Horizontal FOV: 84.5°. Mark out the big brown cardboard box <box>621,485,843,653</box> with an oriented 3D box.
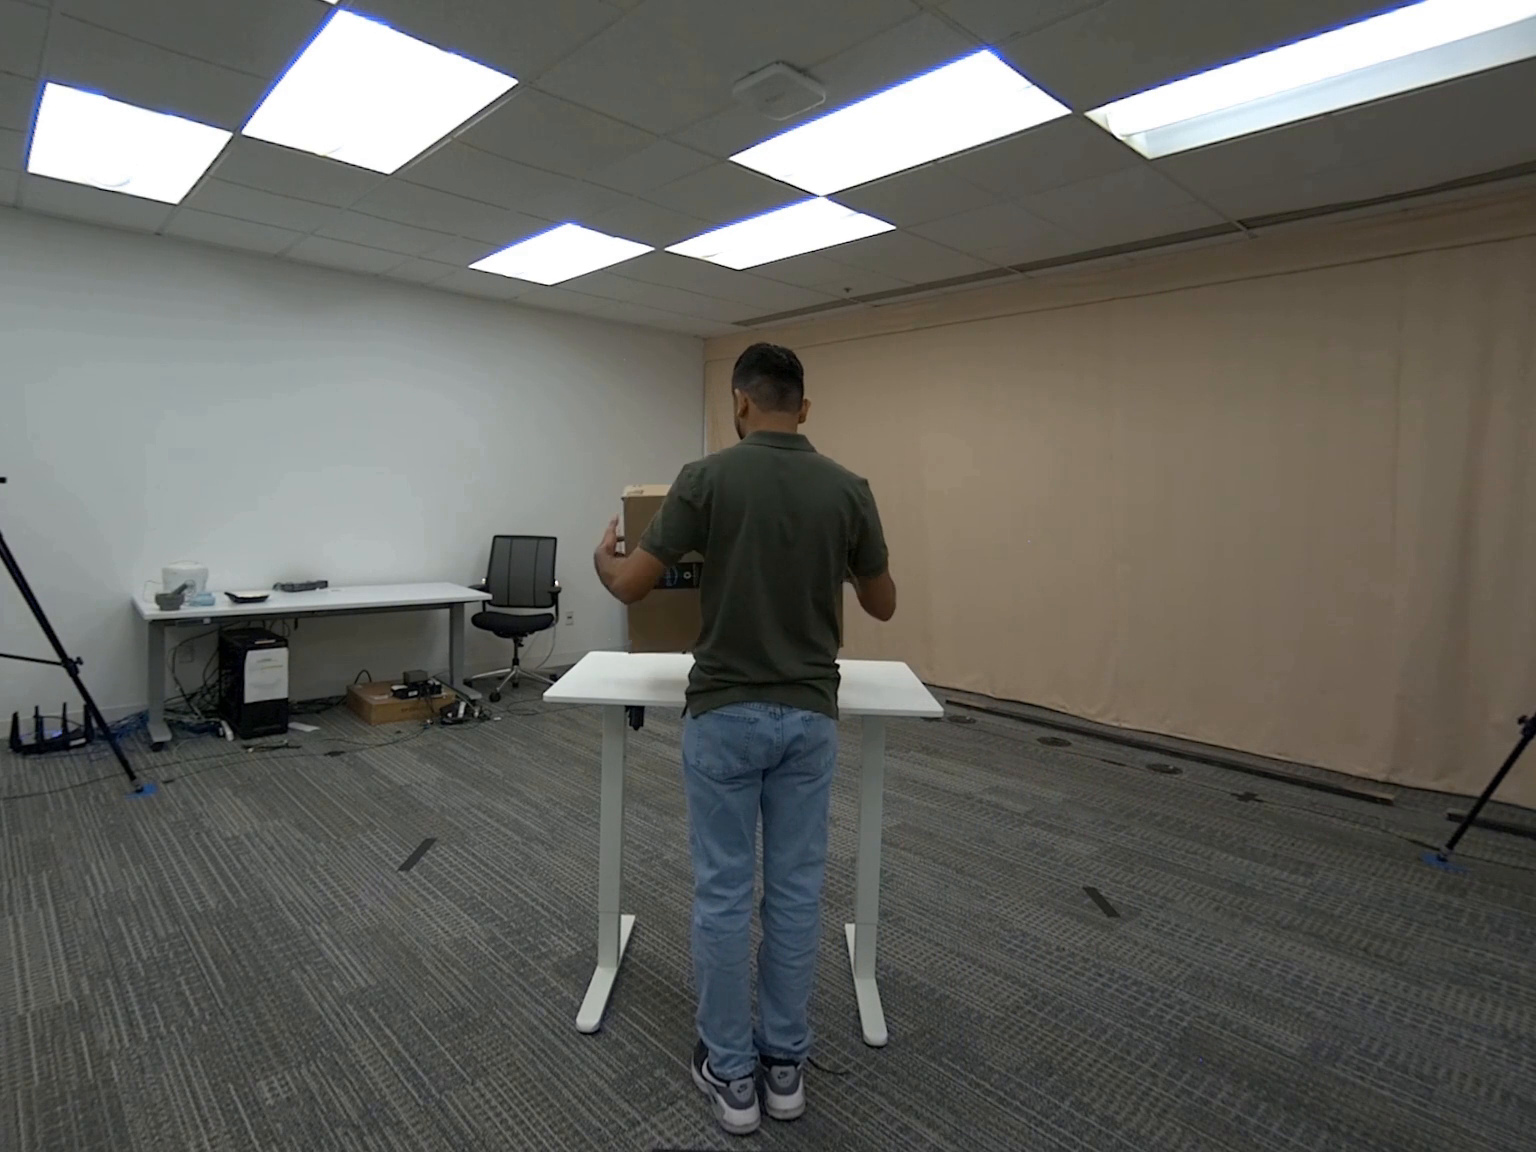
[{"bbox_3d":[-0.105,-0.017,2.250,0.588,0.414,0.235,0,10,-1],"label":"big brown cardboard box"}]
